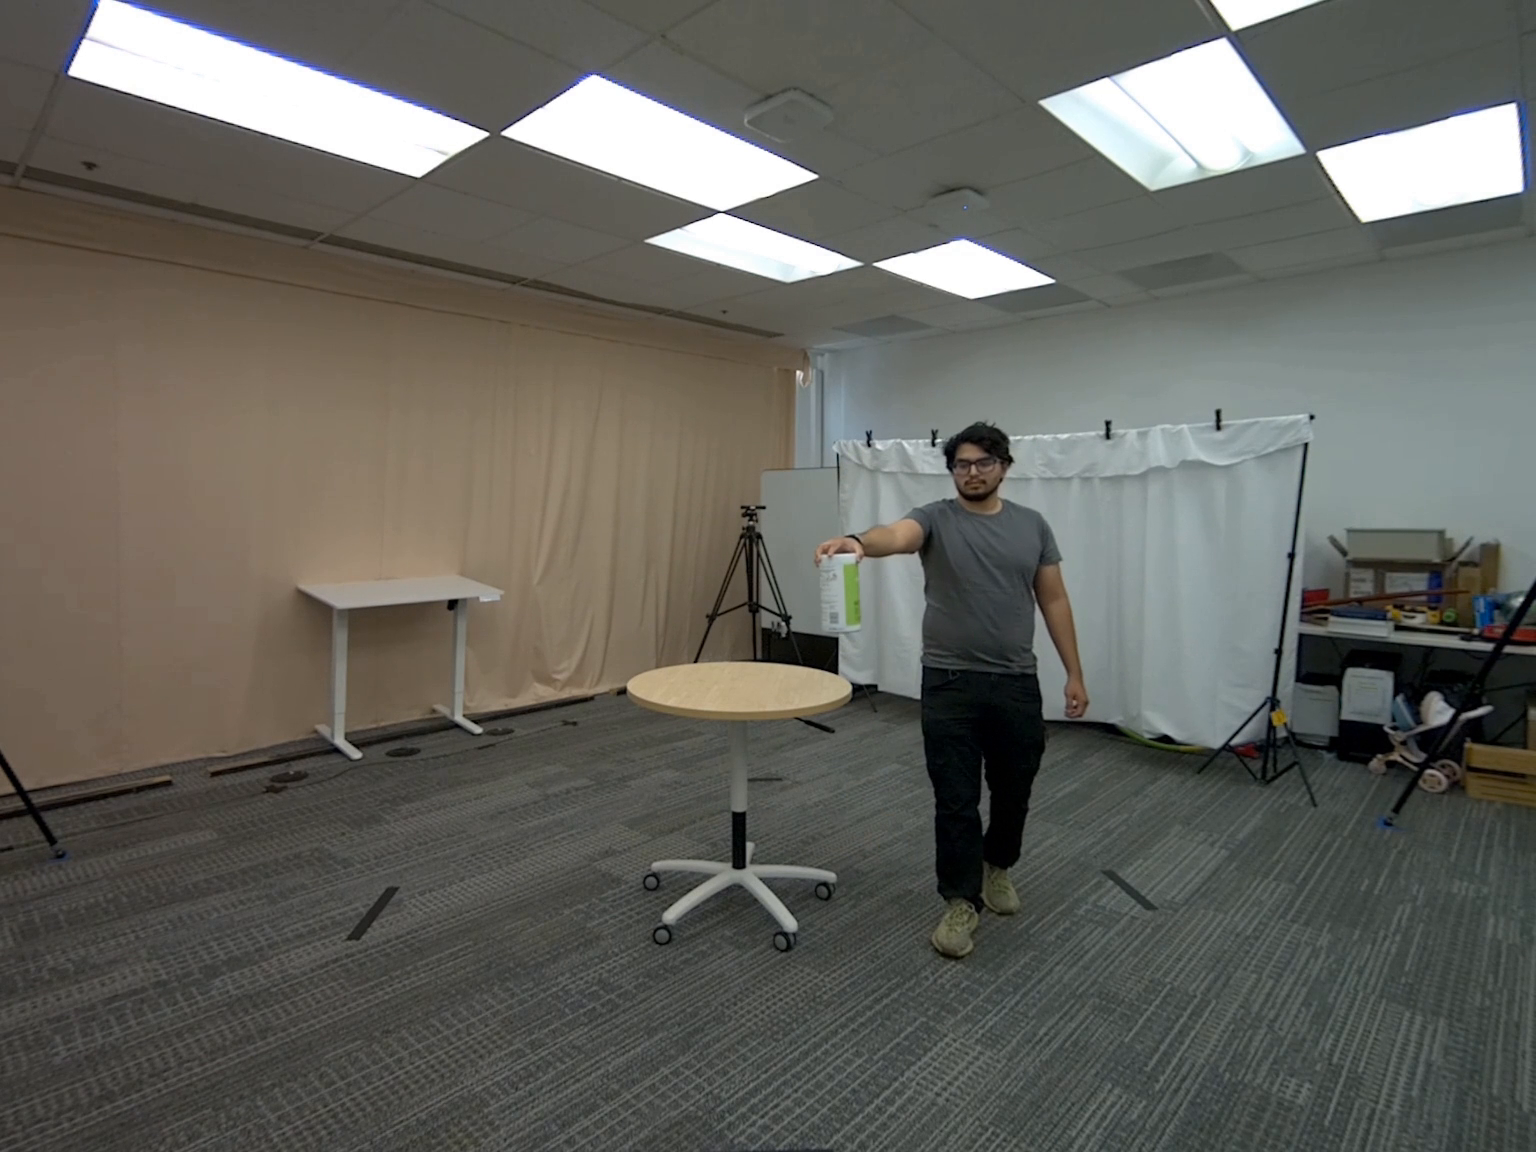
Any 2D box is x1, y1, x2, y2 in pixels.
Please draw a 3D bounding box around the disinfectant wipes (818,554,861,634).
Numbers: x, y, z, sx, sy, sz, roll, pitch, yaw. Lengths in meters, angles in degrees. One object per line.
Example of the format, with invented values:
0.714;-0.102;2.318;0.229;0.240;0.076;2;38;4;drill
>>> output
0.210;0.045;2.312;0.118;0.217;0.118;-1;1;-2;disinfectant wipes
